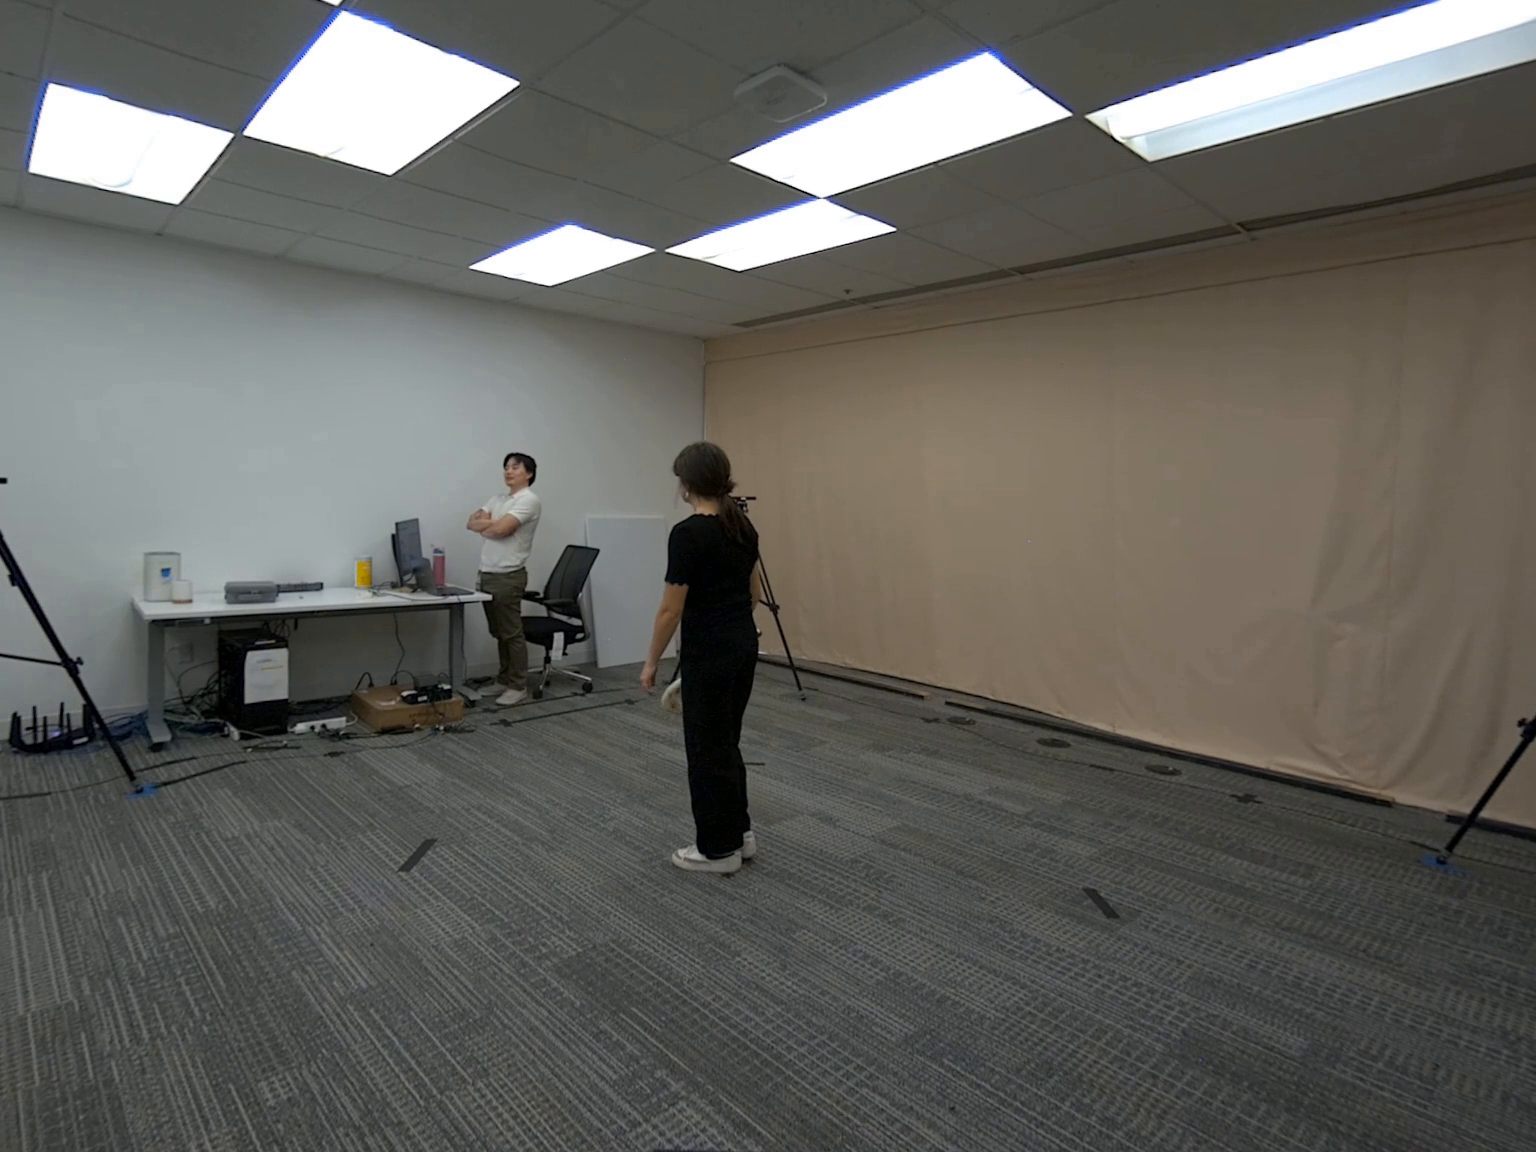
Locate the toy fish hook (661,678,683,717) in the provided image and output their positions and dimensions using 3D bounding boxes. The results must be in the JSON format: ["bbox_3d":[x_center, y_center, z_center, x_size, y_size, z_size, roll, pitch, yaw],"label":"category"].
[{"bbox_3d":[-0.228,0.392,3.428,0.217,0.507,0.050,51,4,-46],"label":"toy fish hook"}]
